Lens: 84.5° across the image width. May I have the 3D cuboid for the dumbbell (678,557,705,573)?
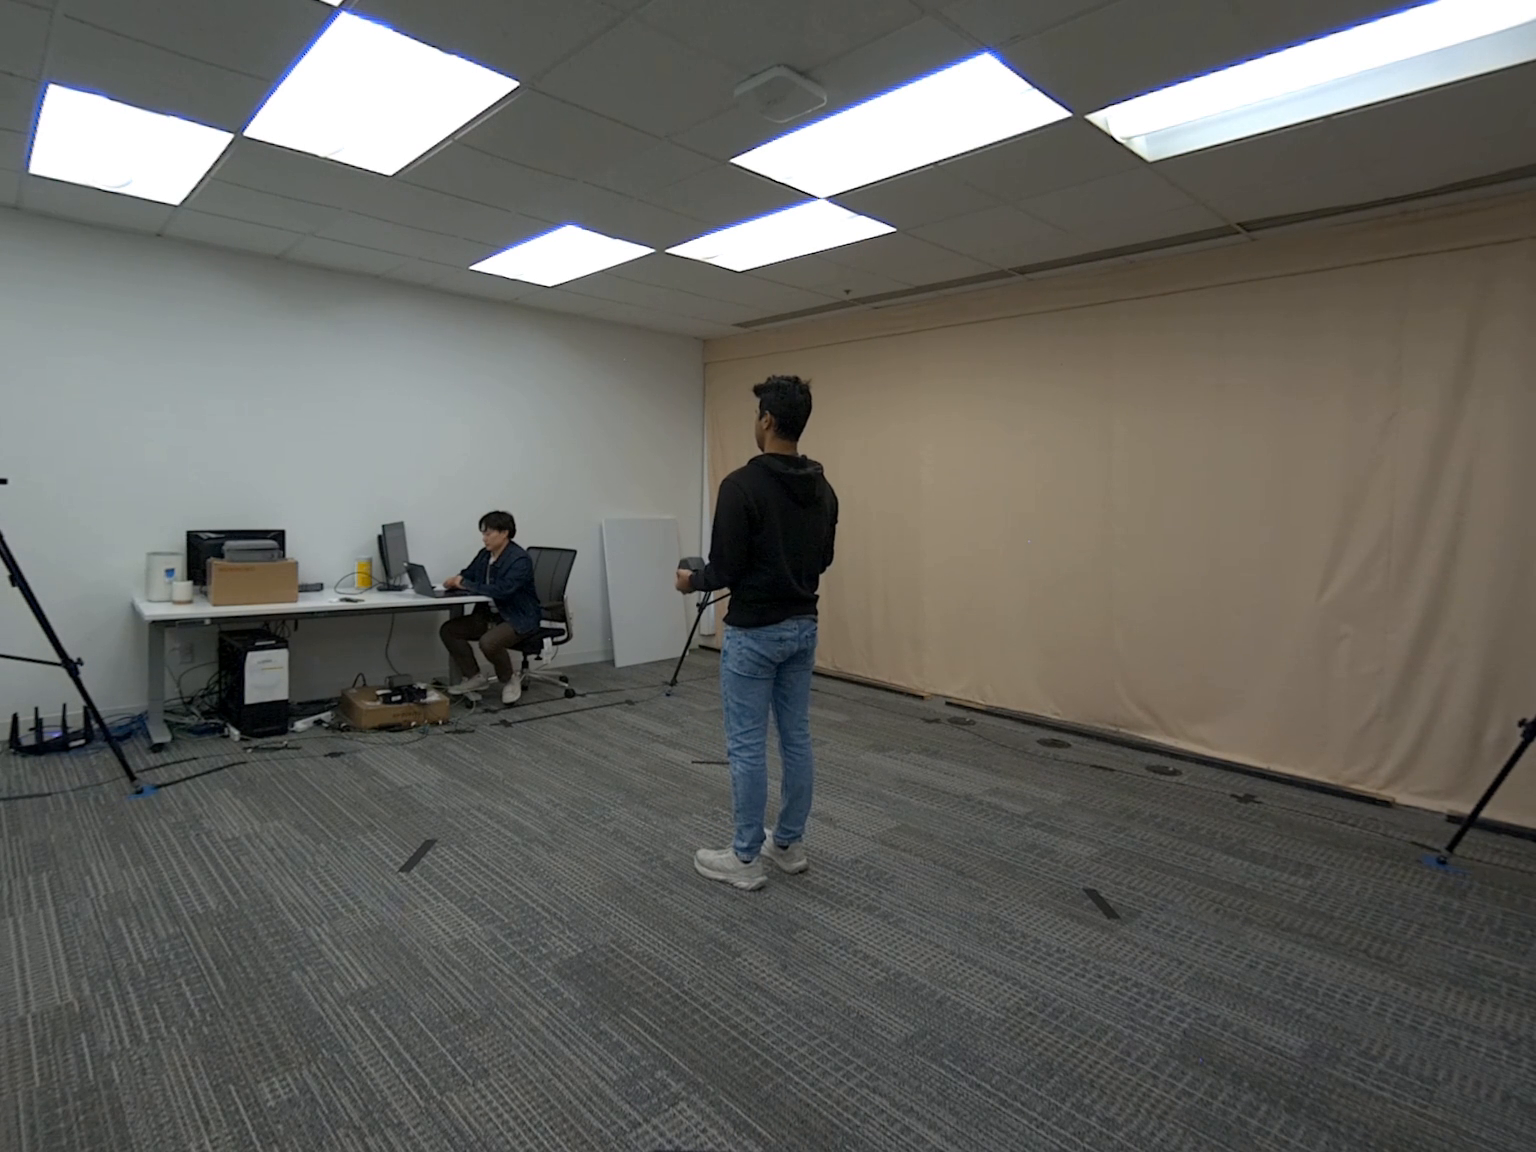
[{"bbox_3d":[-0.206,-0.015,3.311,0.286,0.122,0.112,1,24,-39],"label":"dumbbell"}]
